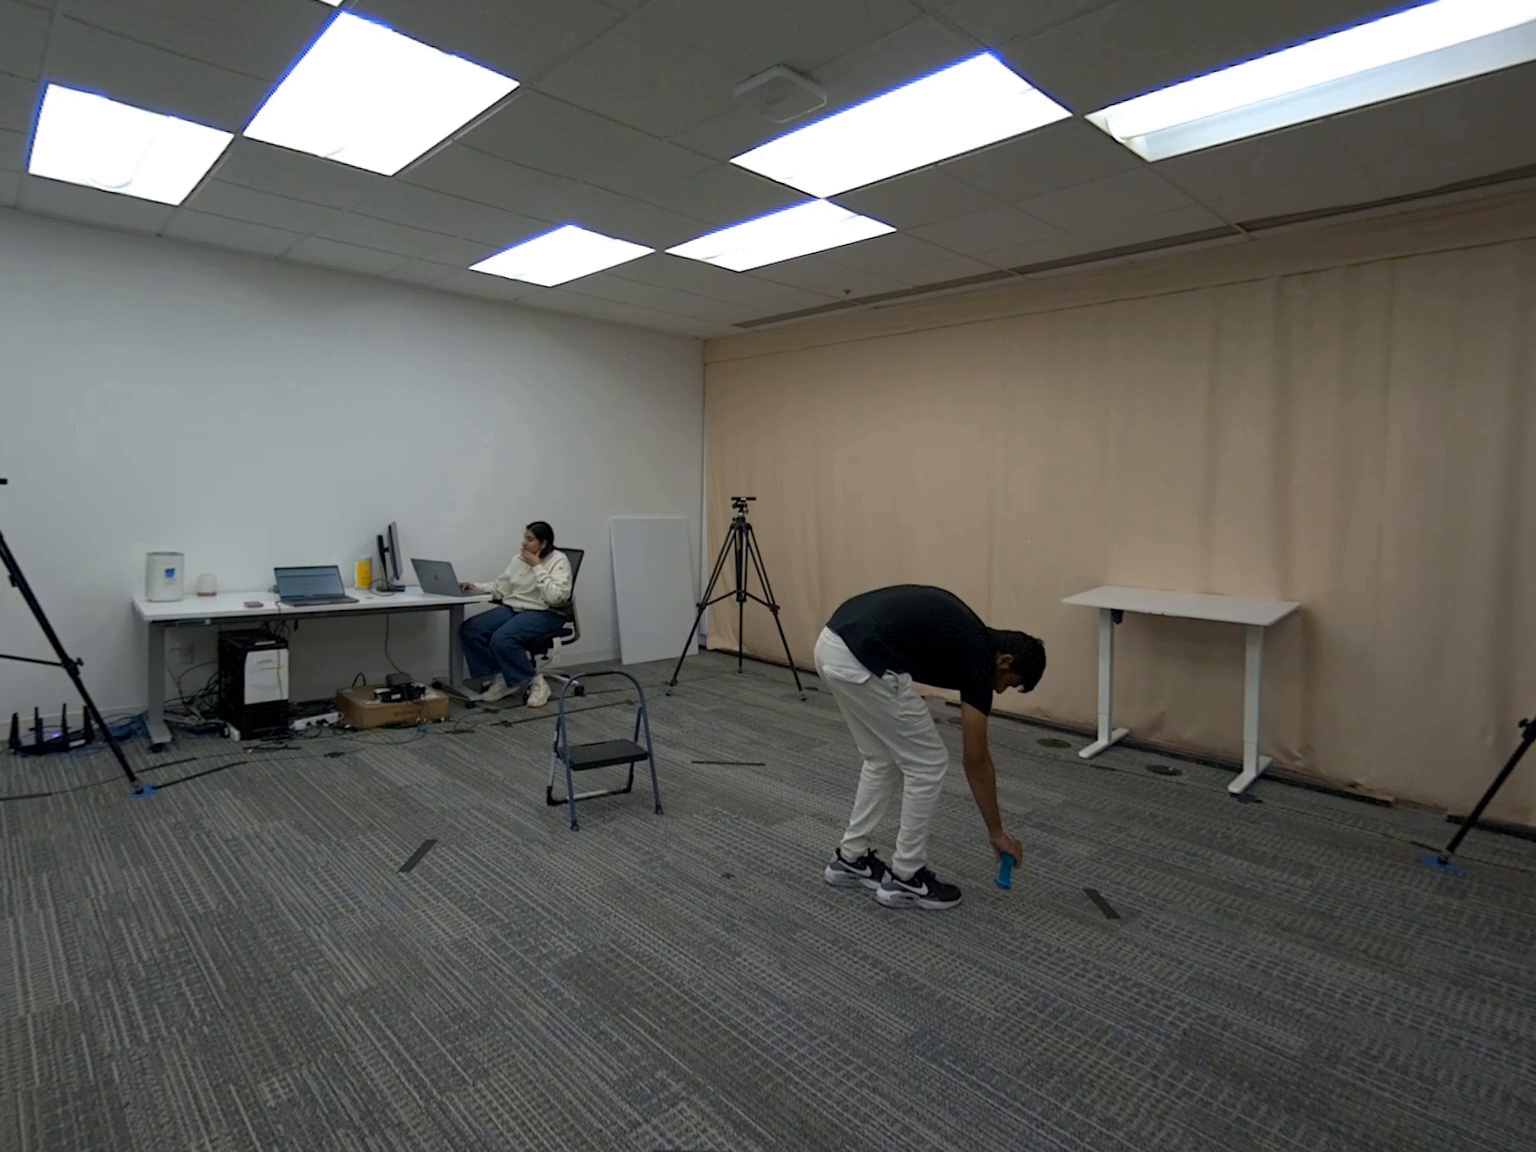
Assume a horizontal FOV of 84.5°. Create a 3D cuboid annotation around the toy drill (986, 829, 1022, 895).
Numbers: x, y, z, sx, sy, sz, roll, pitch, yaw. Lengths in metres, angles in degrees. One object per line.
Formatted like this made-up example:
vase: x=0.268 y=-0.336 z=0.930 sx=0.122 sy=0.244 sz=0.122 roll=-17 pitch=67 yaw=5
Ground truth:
toy drill: x=0.831 y=1.004 z=2.991 sx=0.061 sy=0.145 sz=0.171 roll=4 pitch=12 yaw=-1
